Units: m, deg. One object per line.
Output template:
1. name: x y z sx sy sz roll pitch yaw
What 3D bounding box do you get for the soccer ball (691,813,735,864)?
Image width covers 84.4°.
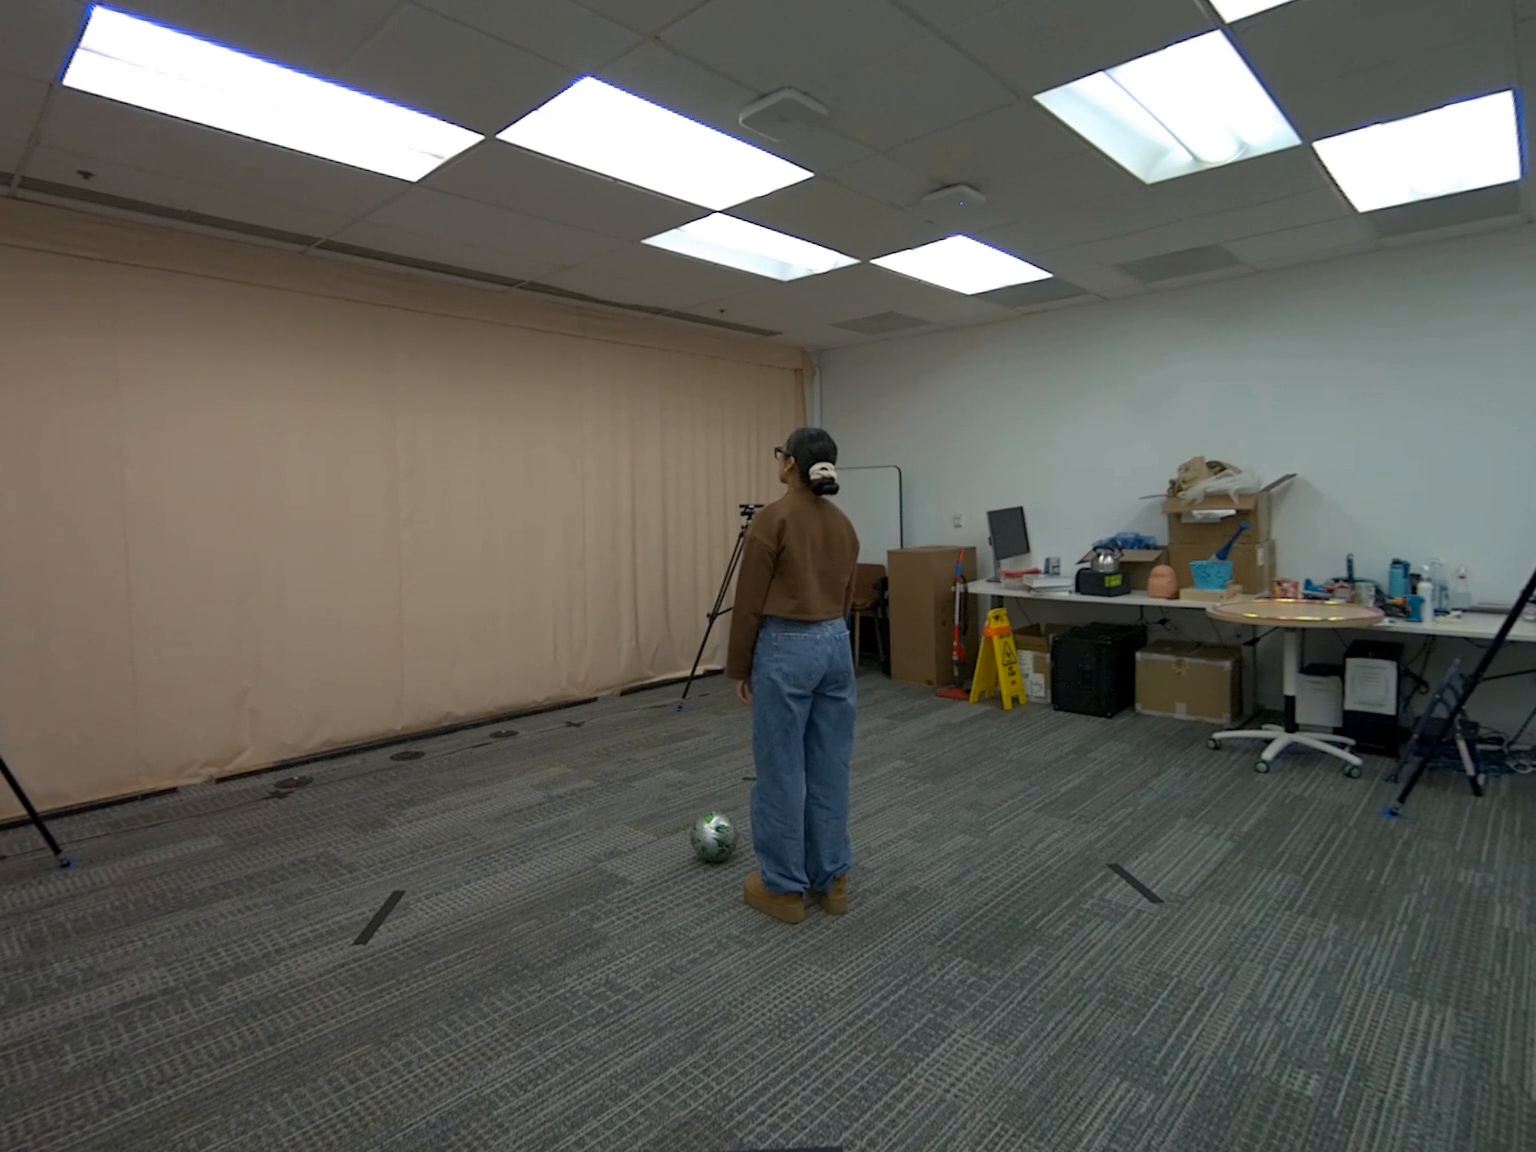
1. soccer ball: -0.212 1.023 3.303 0.187 0.187 0.188 -1 4 -2
